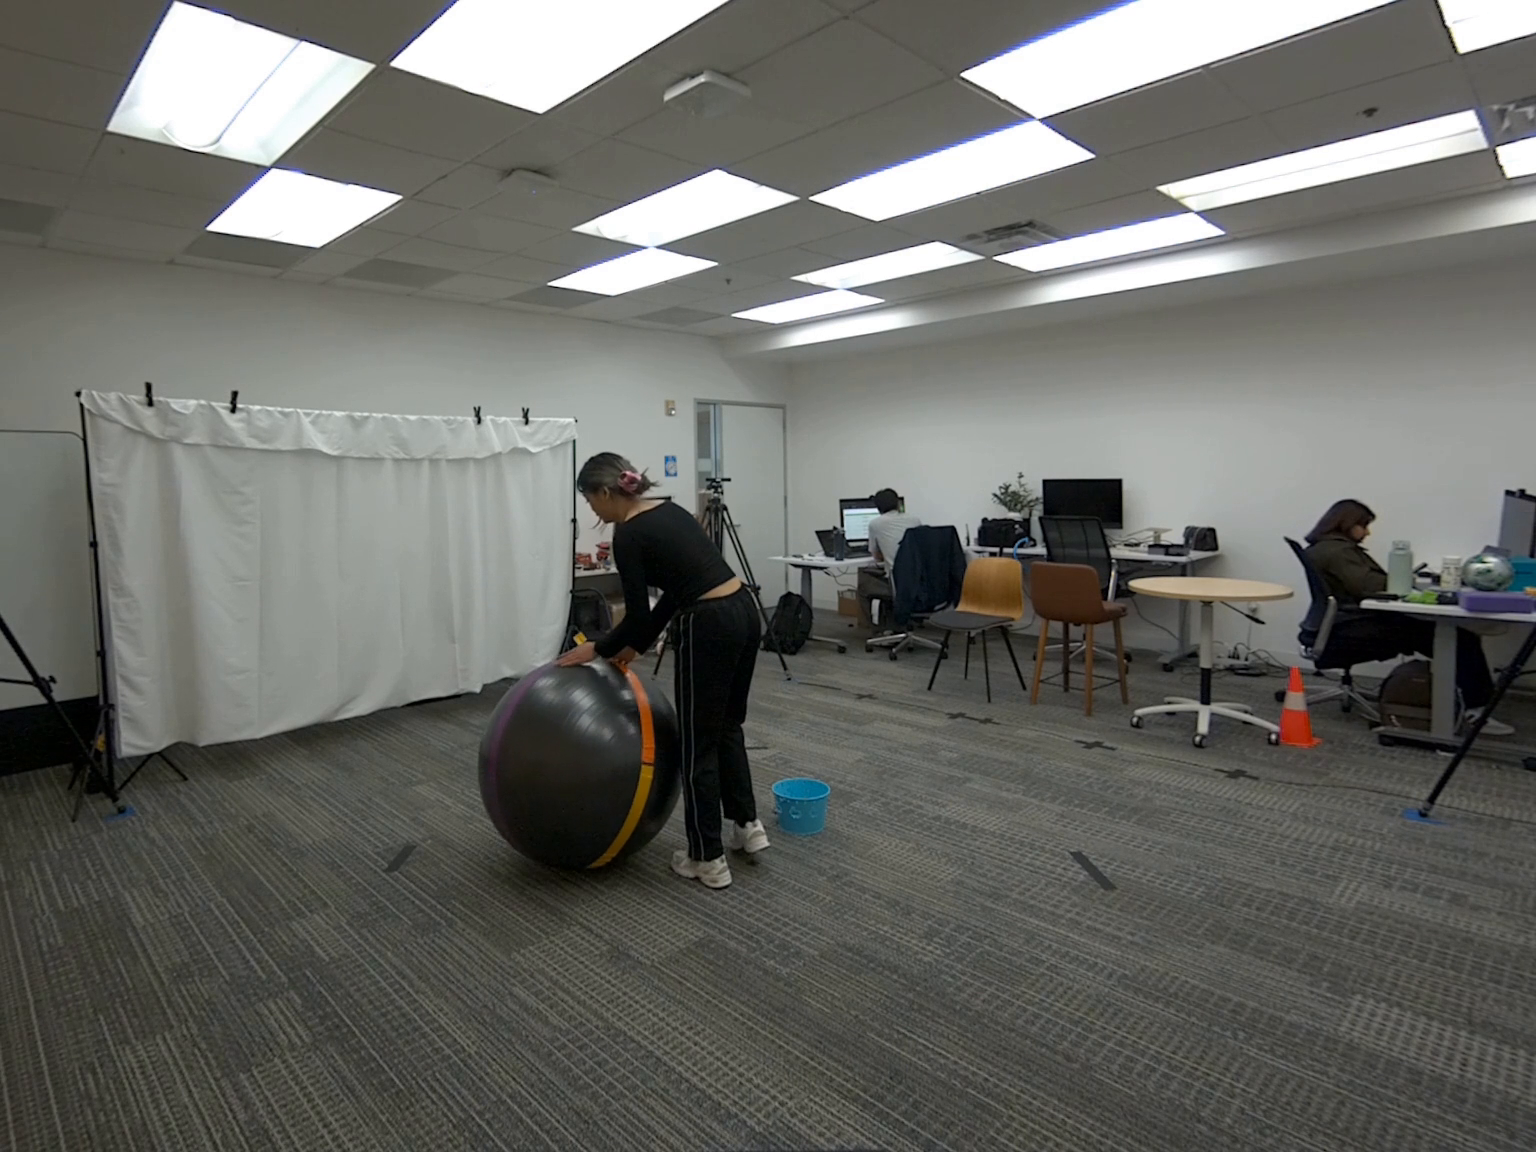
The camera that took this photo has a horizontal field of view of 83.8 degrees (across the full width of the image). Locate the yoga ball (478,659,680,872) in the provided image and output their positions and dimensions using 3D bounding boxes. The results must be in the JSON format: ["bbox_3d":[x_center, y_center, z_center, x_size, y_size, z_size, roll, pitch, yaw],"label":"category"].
[{"bbox_3d":[-0.684,0.678,3.145,0.757,0.755,0.762,-1,5,-2],"label":"yoga ball"}]
